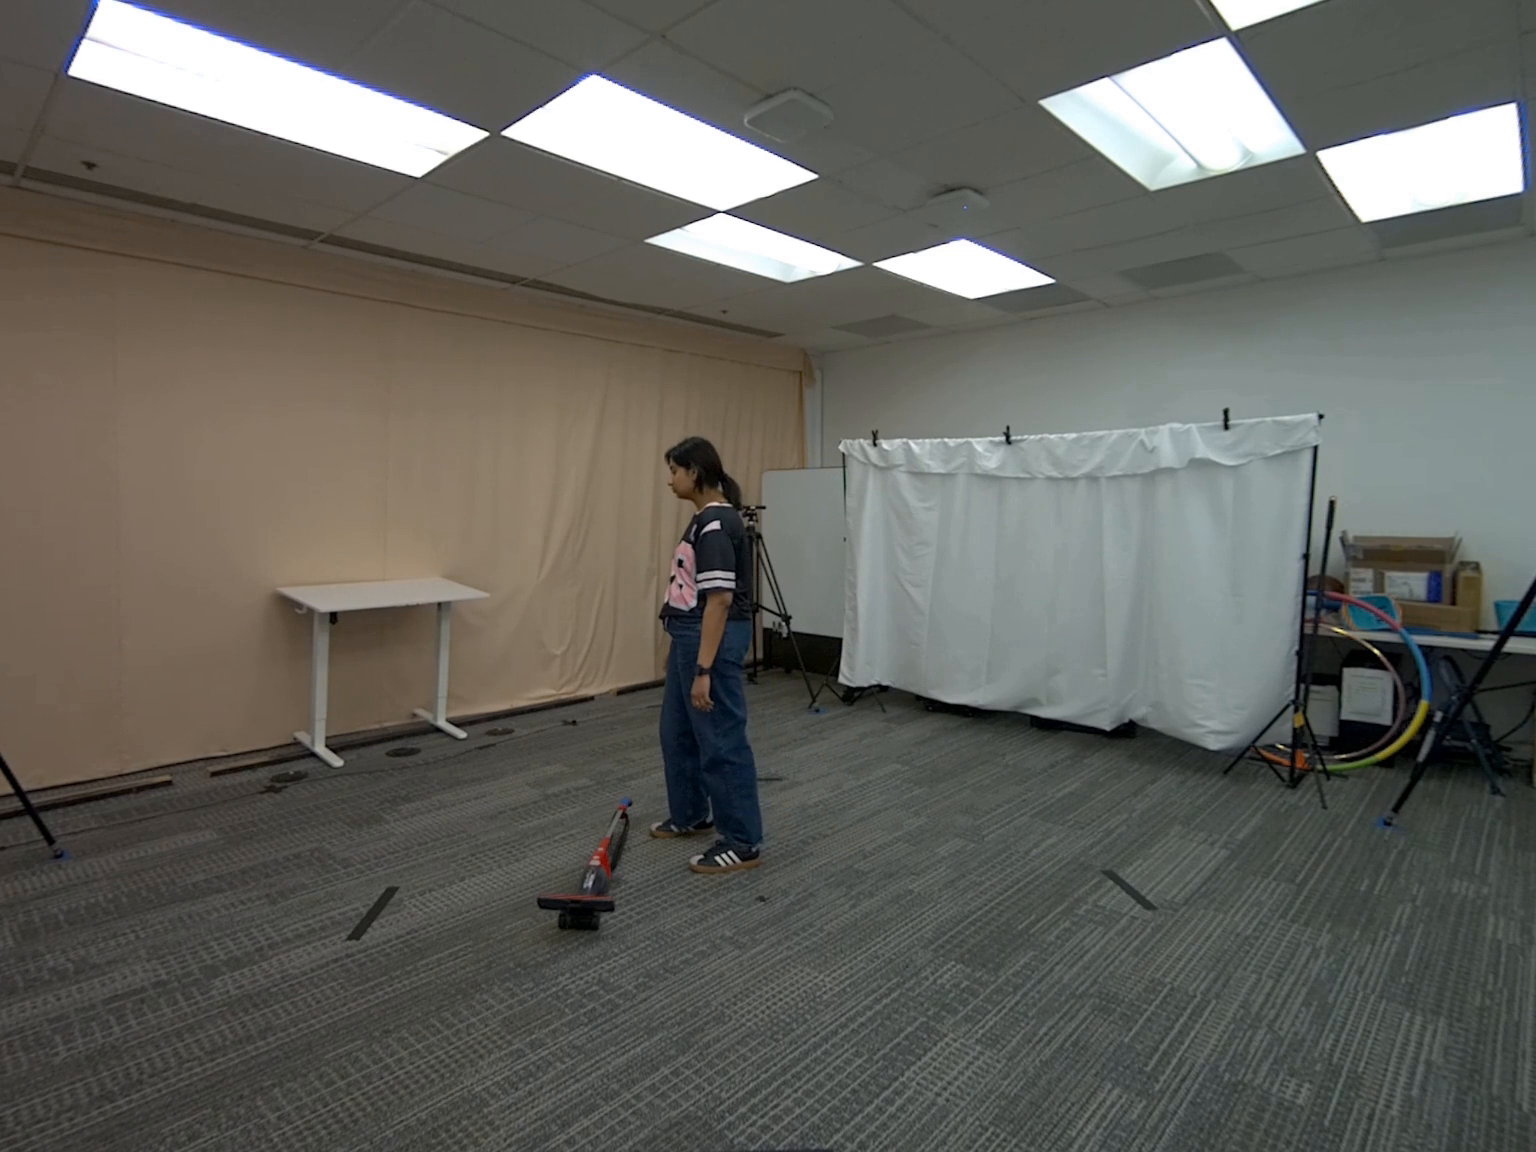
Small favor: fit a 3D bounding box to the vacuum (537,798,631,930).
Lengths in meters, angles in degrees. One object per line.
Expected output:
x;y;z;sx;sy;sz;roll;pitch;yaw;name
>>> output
-0.622;1.063;3.269;0.253;0.144;1.050;0;4;-1;vacuum
